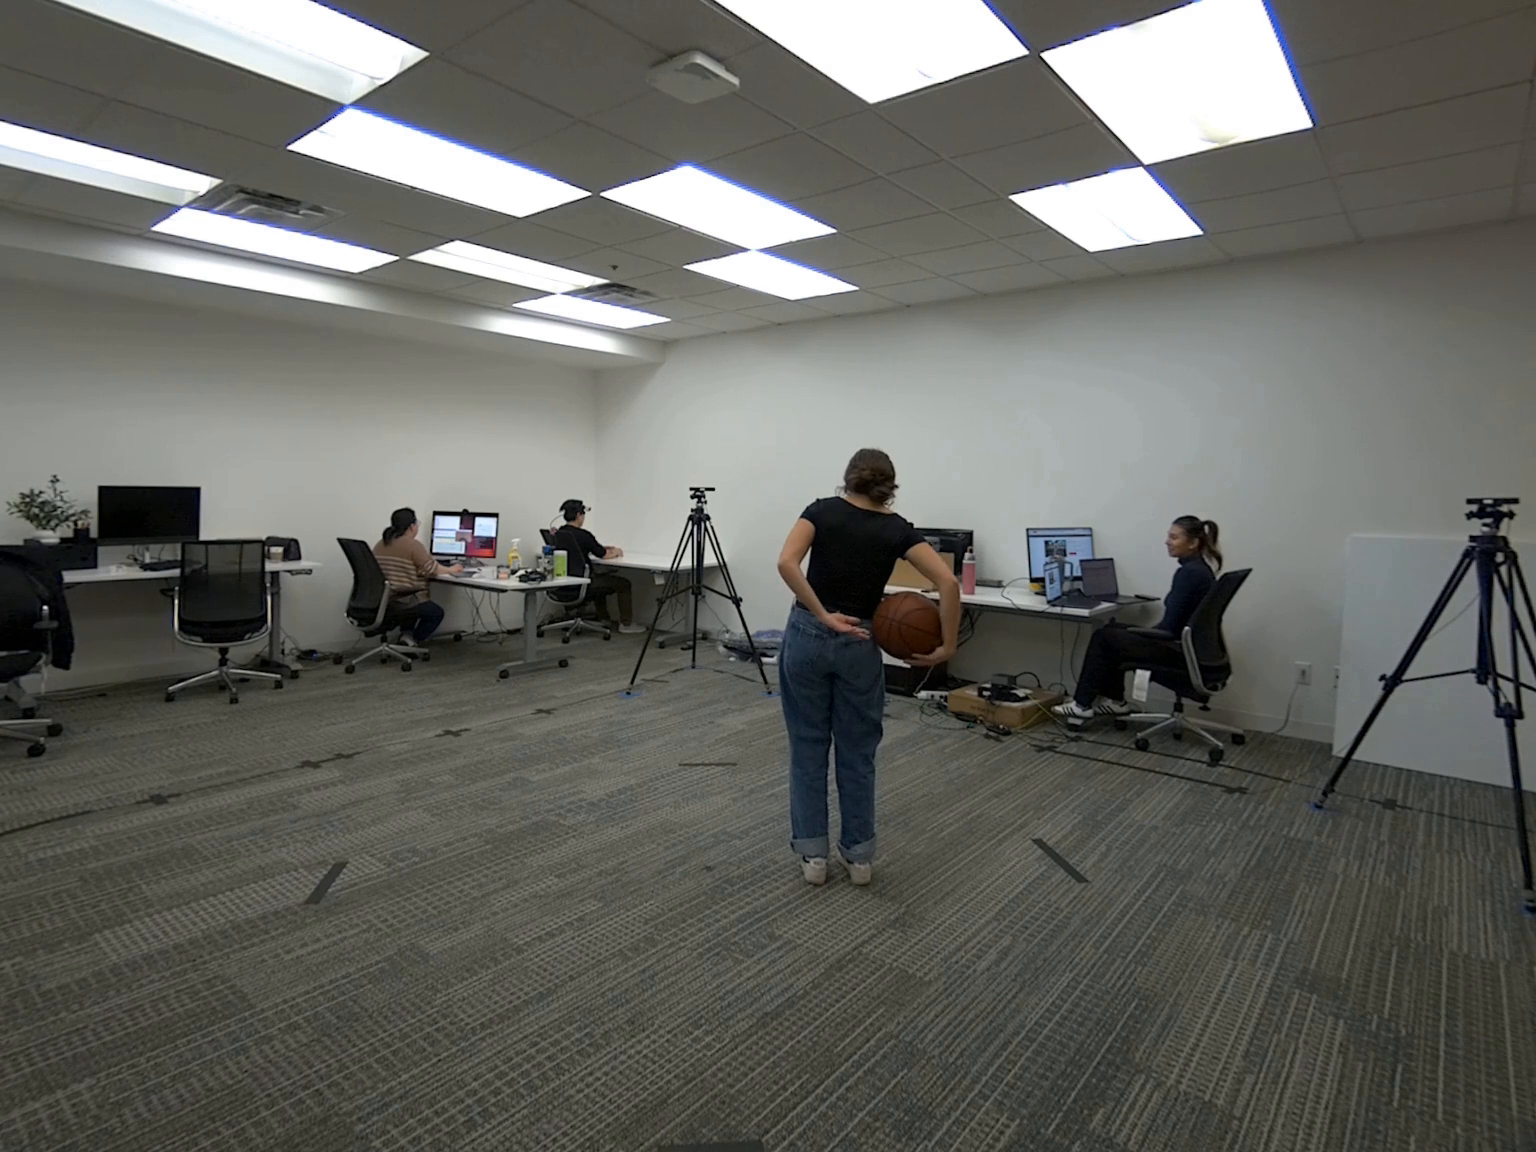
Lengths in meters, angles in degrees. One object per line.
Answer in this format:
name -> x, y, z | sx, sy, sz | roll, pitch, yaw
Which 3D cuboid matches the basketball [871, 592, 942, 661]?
basketball -> 0.474, 0.177, 2.907 | 0.235, 0.235, 0.237 | 1, 4, -2
